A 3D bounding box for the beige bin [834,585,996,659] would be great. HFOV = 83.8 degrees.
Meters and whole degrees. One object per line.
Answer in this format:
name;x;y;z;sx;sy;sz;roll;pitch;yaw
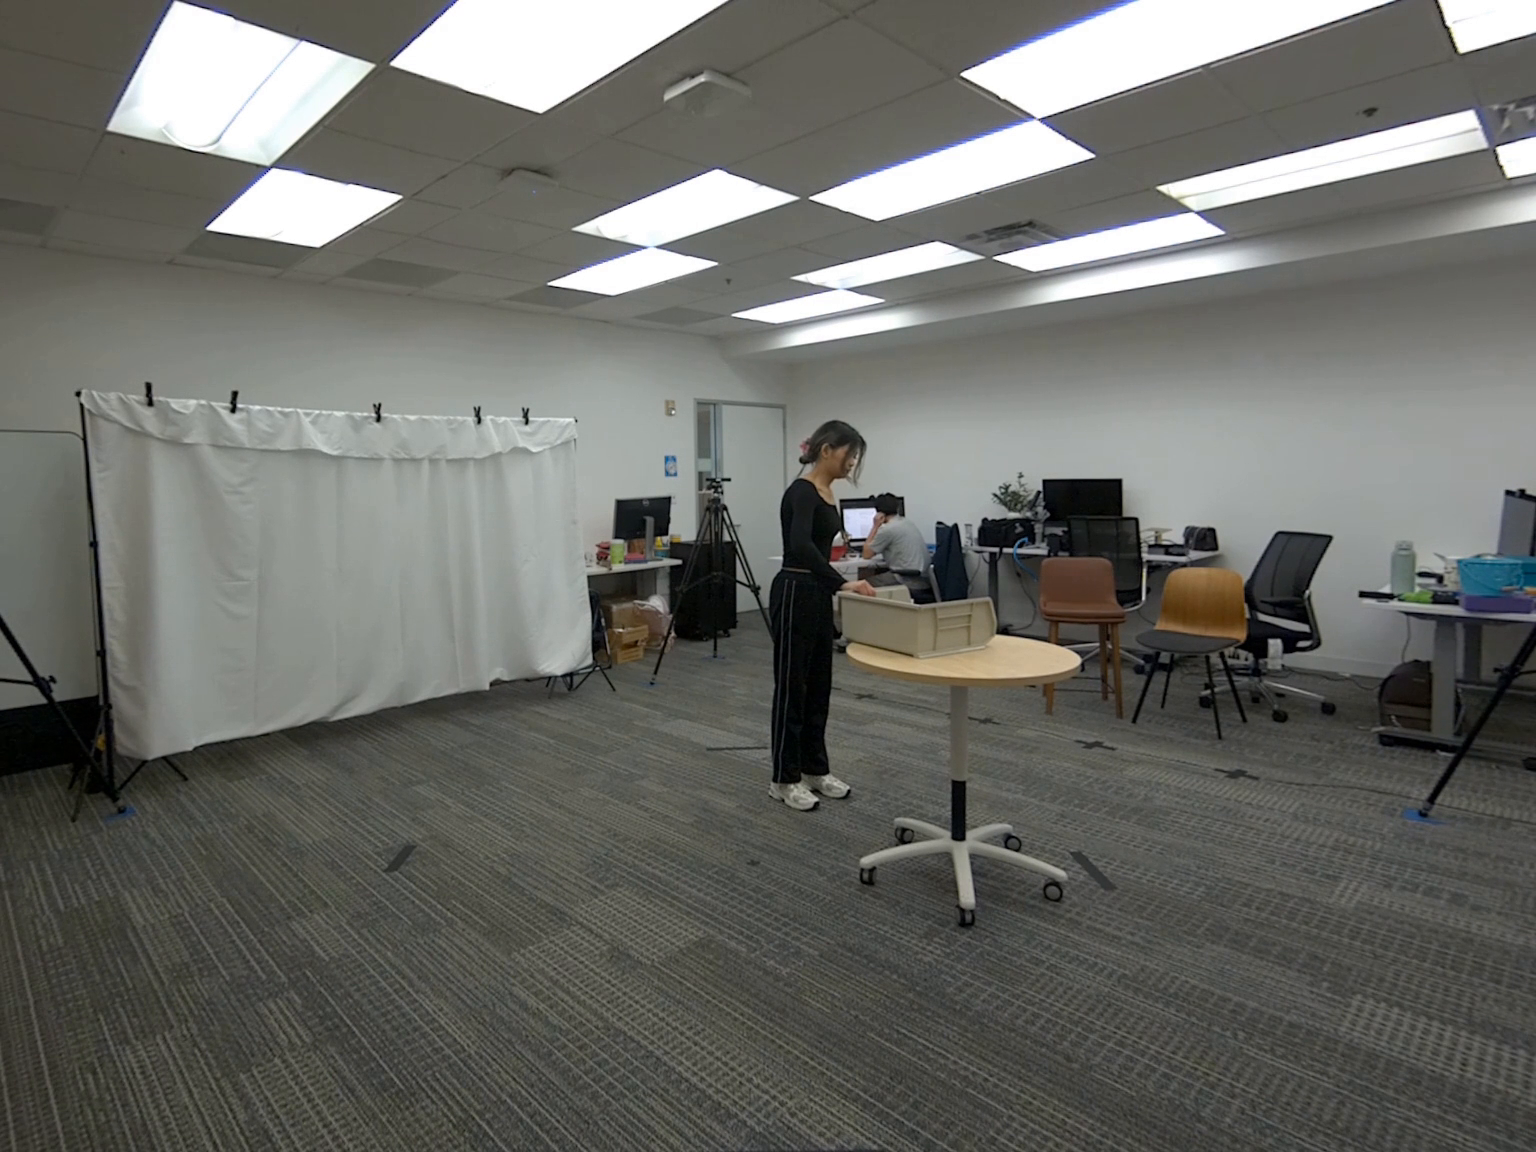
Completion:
beige bin;0.529;0.155;3.059;0.368;0.188;0.435;-6;9;-33
